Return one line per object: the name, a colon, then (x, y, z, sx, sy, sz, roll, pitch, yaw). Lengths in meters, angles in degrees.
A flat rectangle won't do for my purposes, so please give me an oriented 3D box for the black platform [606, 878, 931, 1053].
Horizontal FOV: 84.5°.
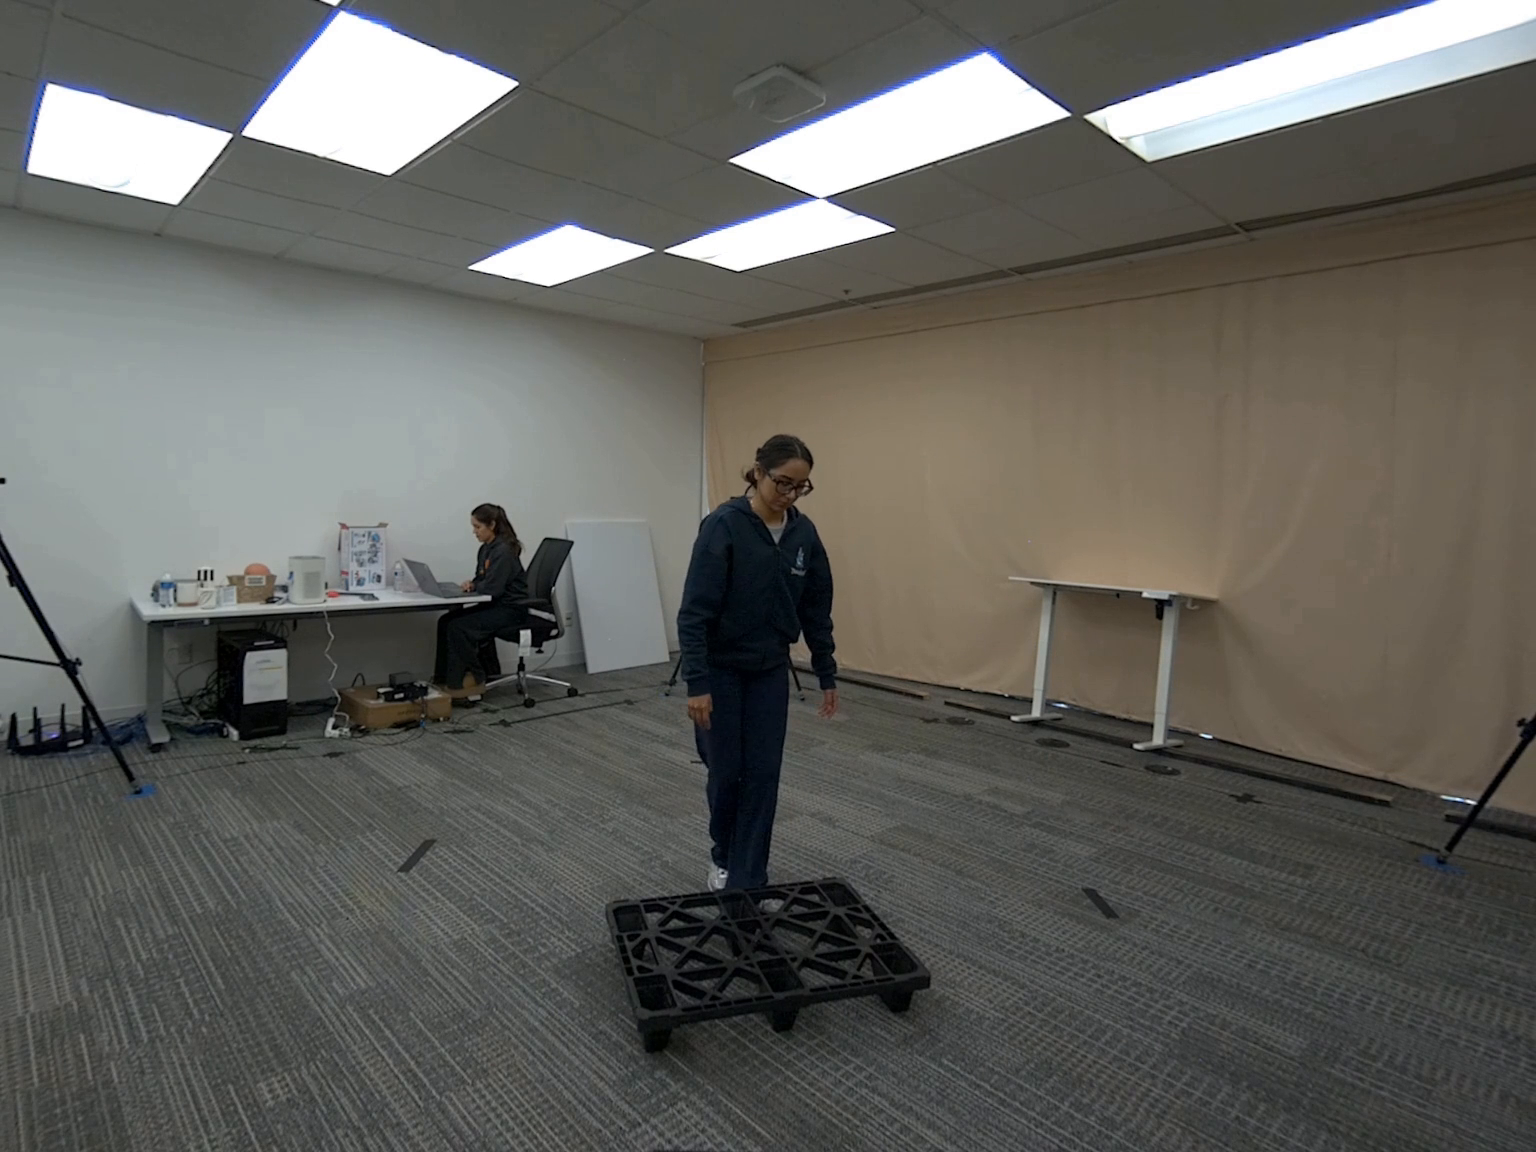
black platform: (-0.038, 1.105, 2.426, 0.795, 0.143, 0.615, 0, 5, -17)
